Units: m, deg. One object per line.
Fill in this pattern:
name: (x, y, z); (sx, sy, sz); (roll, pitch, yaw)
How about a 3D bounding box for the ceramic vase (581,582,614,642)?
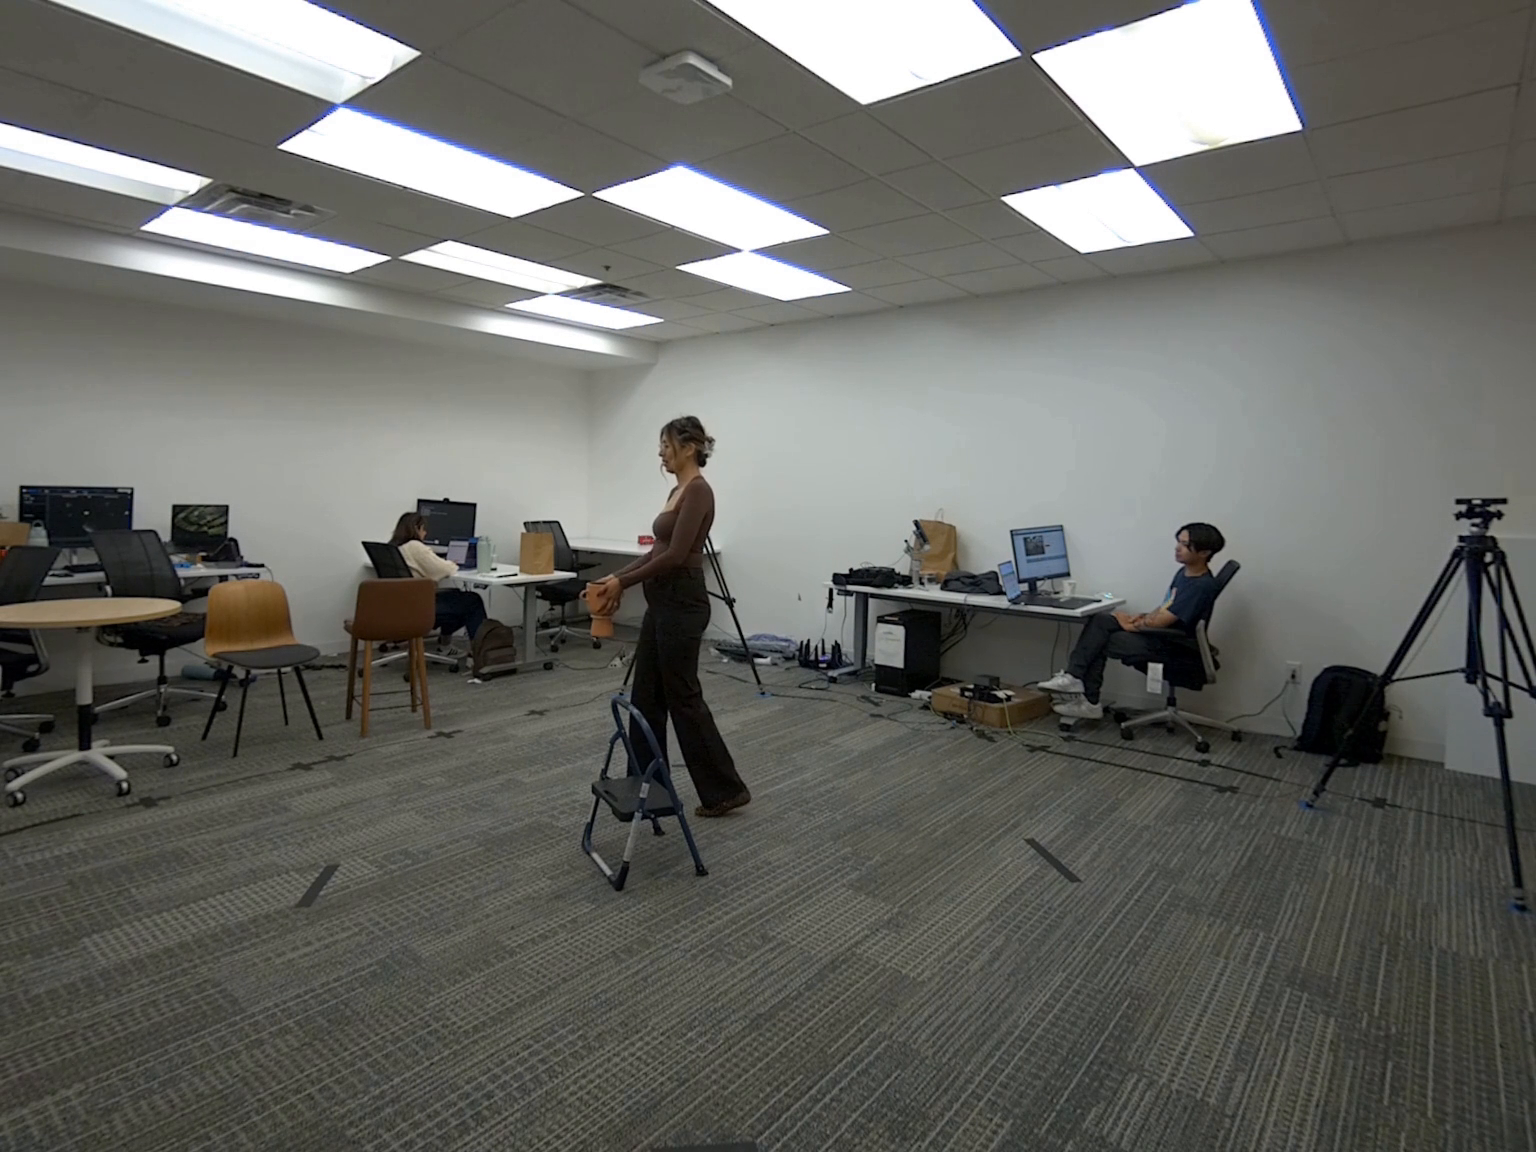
ceramic vase: (-0.718, 0.136, 3.620); (0.160, 0.219, 0.134); (0, 2, 7)
